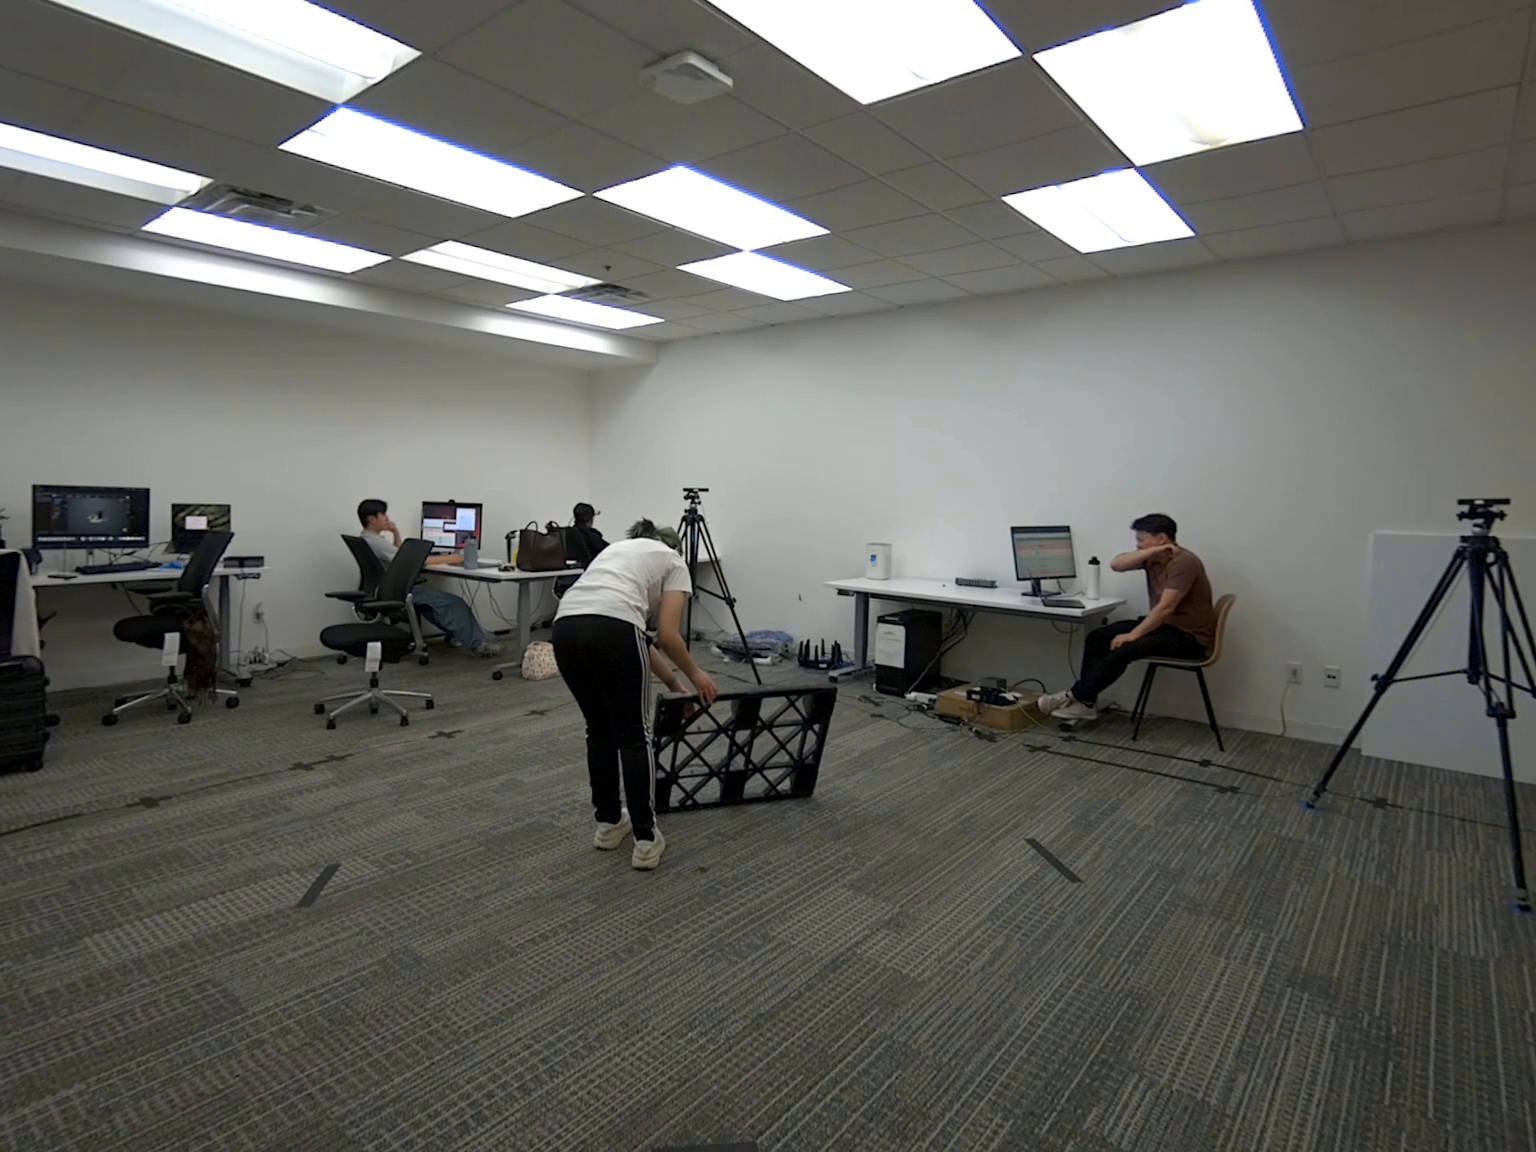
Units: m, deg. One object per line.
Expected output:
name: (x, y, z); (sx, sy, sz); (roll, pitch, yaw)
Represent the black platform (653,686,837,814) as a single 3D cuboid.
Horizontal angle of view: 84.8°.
black platform: (-0.139, 0.720, 3.680); (0.789, 0.595, 0.149); (0, 25, -21)
